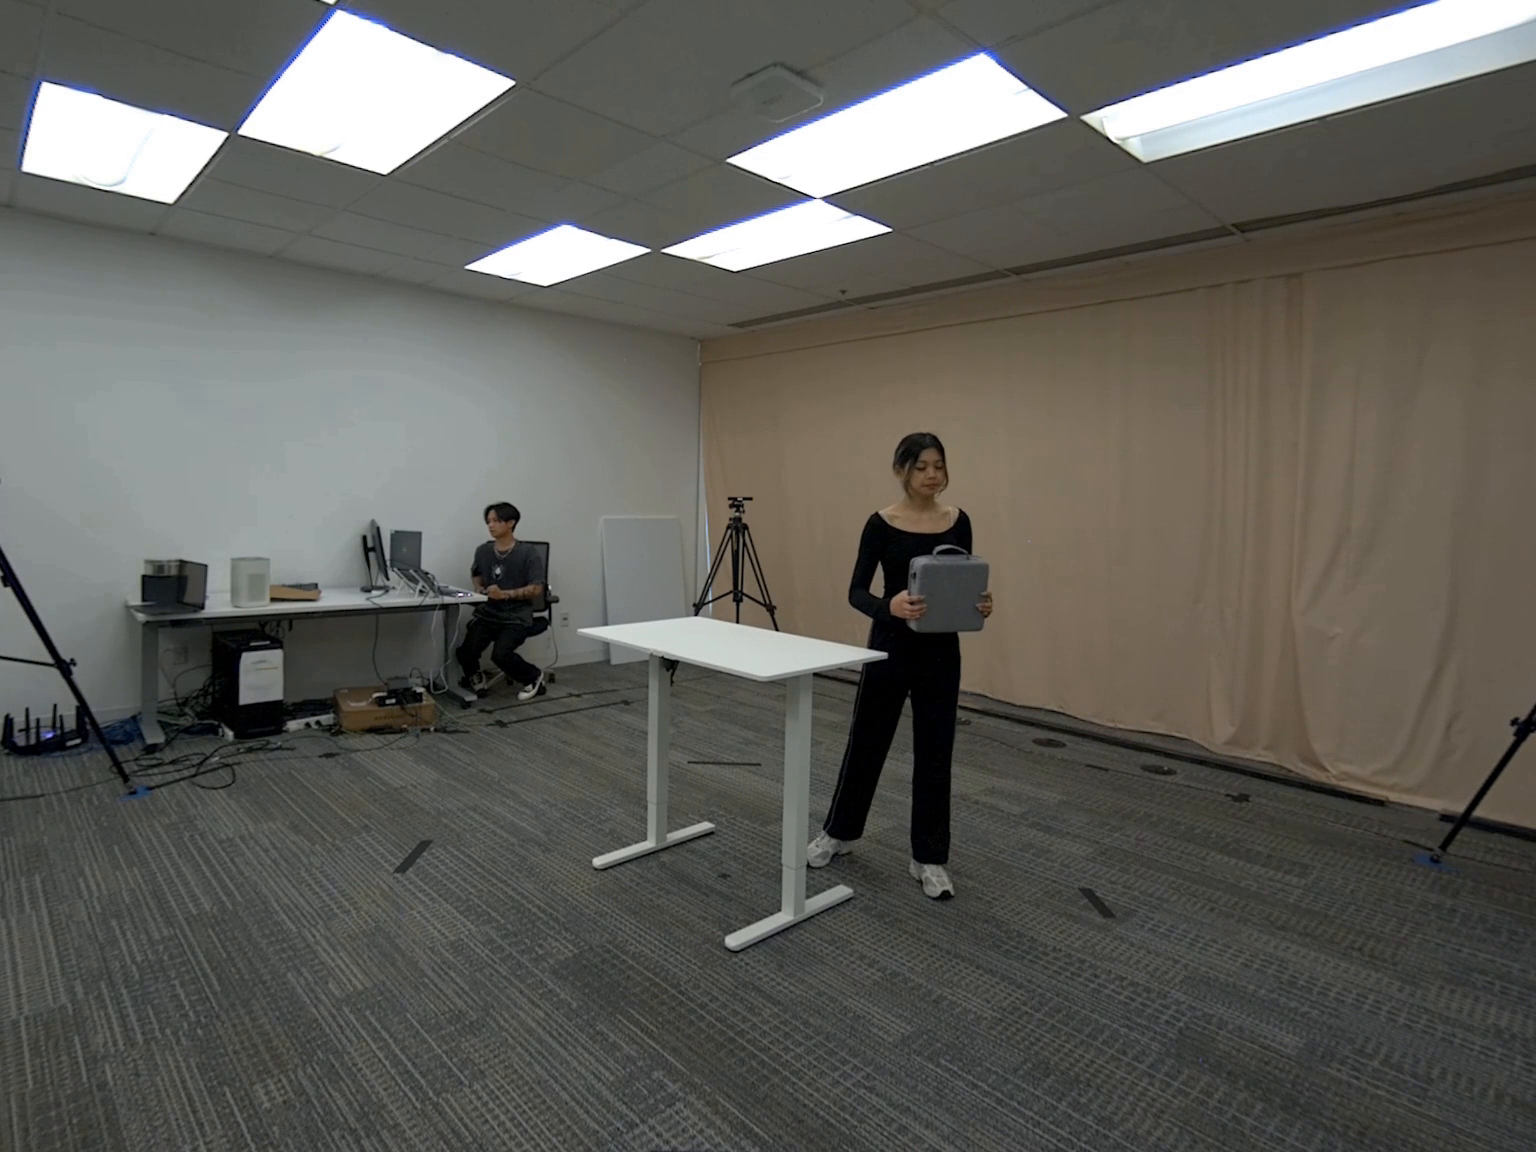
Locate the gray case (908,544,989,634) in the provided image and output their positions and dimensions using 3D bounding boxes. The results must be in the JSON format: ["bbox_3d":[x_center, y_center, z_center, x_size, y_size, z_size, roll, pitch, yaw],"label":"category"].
[{"bbox_3d":[0.597,0.057,2.823,0.255,0.258,0.106,-1,14,-7],"label":"gray case"}]
